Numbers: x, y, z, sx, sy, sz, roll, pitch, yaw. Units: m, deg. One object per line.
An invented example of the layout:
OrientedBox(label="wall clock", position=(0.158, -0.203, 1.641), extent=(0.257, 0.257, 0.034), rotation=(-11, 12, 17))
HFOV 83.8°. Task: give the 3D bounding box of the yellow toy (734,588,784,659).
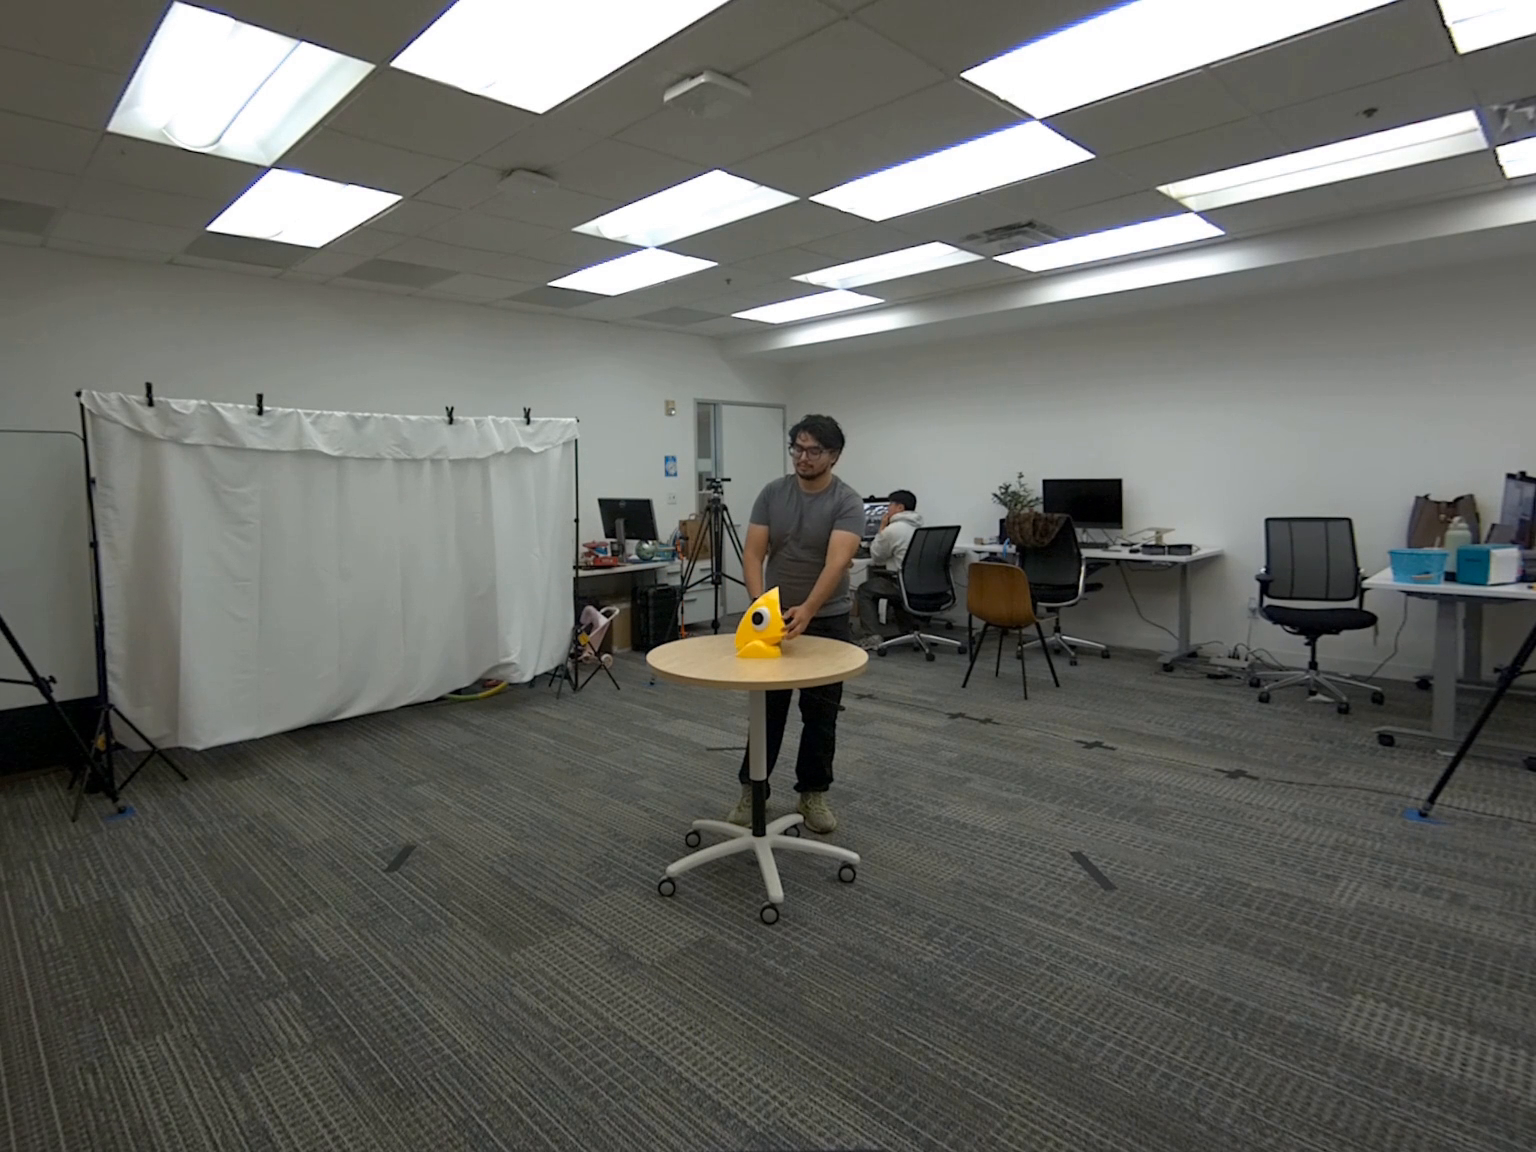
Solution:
OrientedBox(label="yellow toy", position=(-0.019, 0.155, 2.998), extent=(0.193, 0.230, 0.206), rotation=(0, 5, -1))
